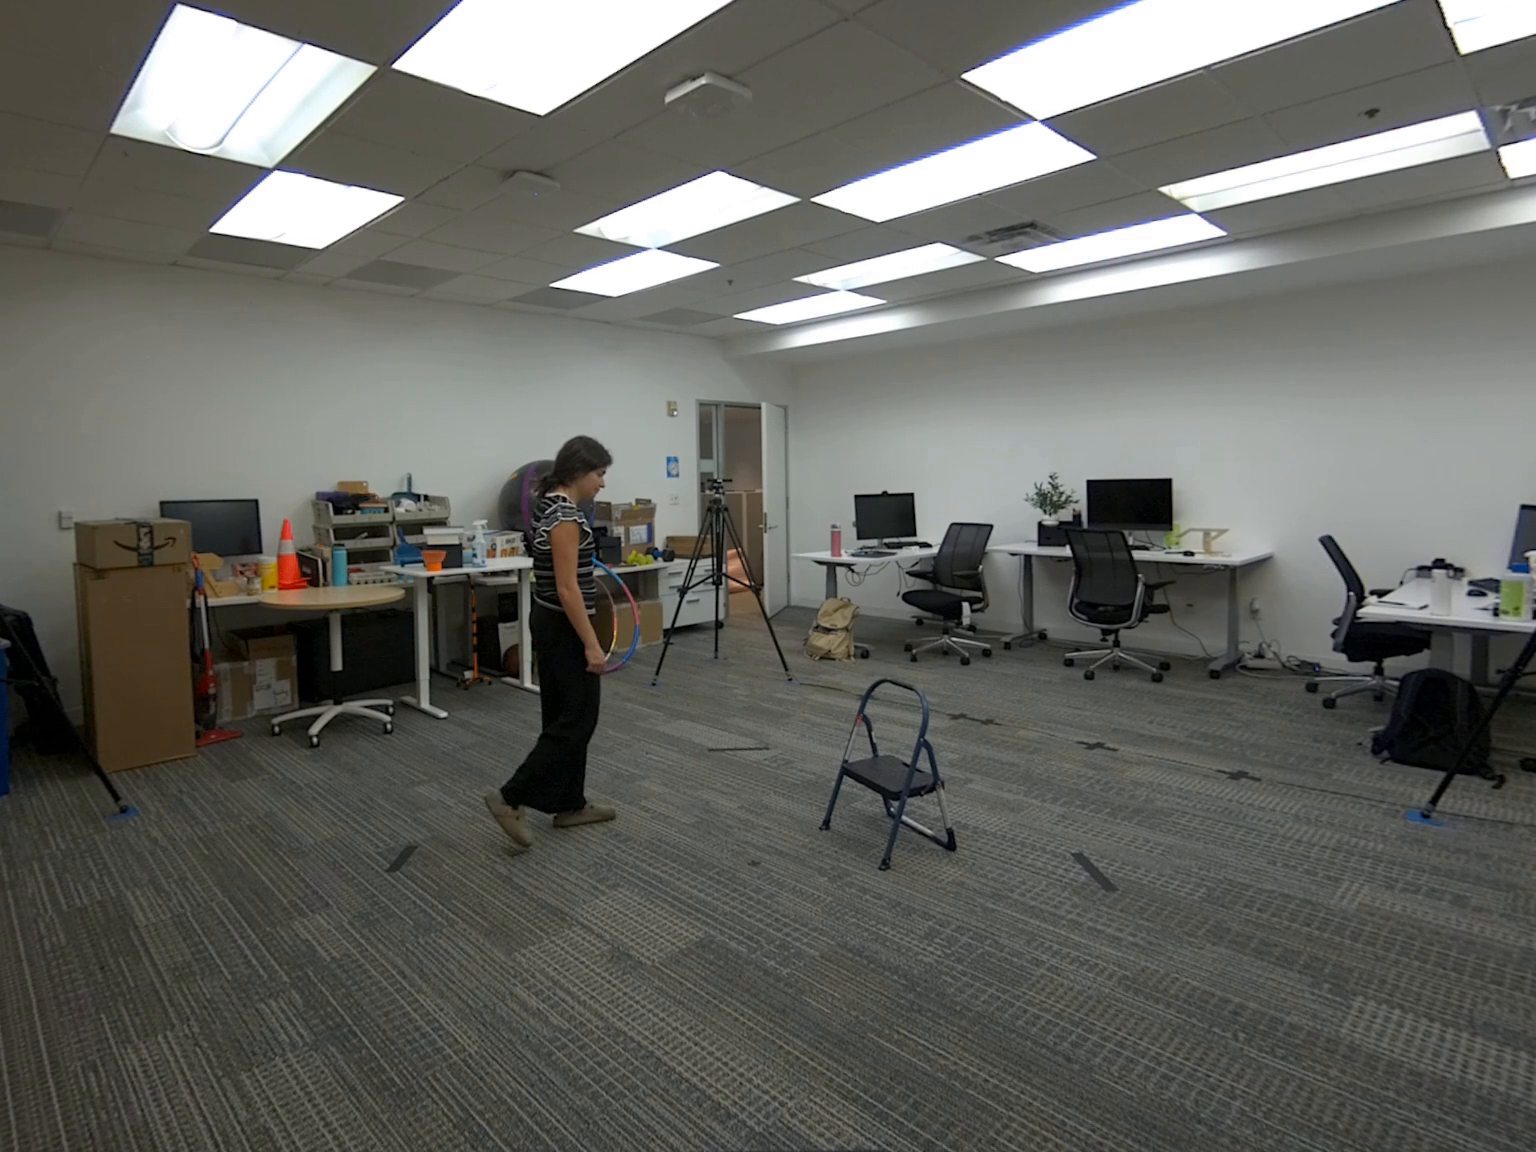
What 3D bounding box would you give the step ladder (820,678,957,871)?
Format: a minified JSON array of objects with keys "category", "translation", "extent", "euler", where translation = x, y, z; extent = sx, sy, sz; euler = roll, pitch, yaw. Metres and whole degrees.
[{"category":"step ladder","translation":[0.453,0.711,3.273],"extent":[0.341,0.604,0.442],"euler":[-2,5,-28]}]
